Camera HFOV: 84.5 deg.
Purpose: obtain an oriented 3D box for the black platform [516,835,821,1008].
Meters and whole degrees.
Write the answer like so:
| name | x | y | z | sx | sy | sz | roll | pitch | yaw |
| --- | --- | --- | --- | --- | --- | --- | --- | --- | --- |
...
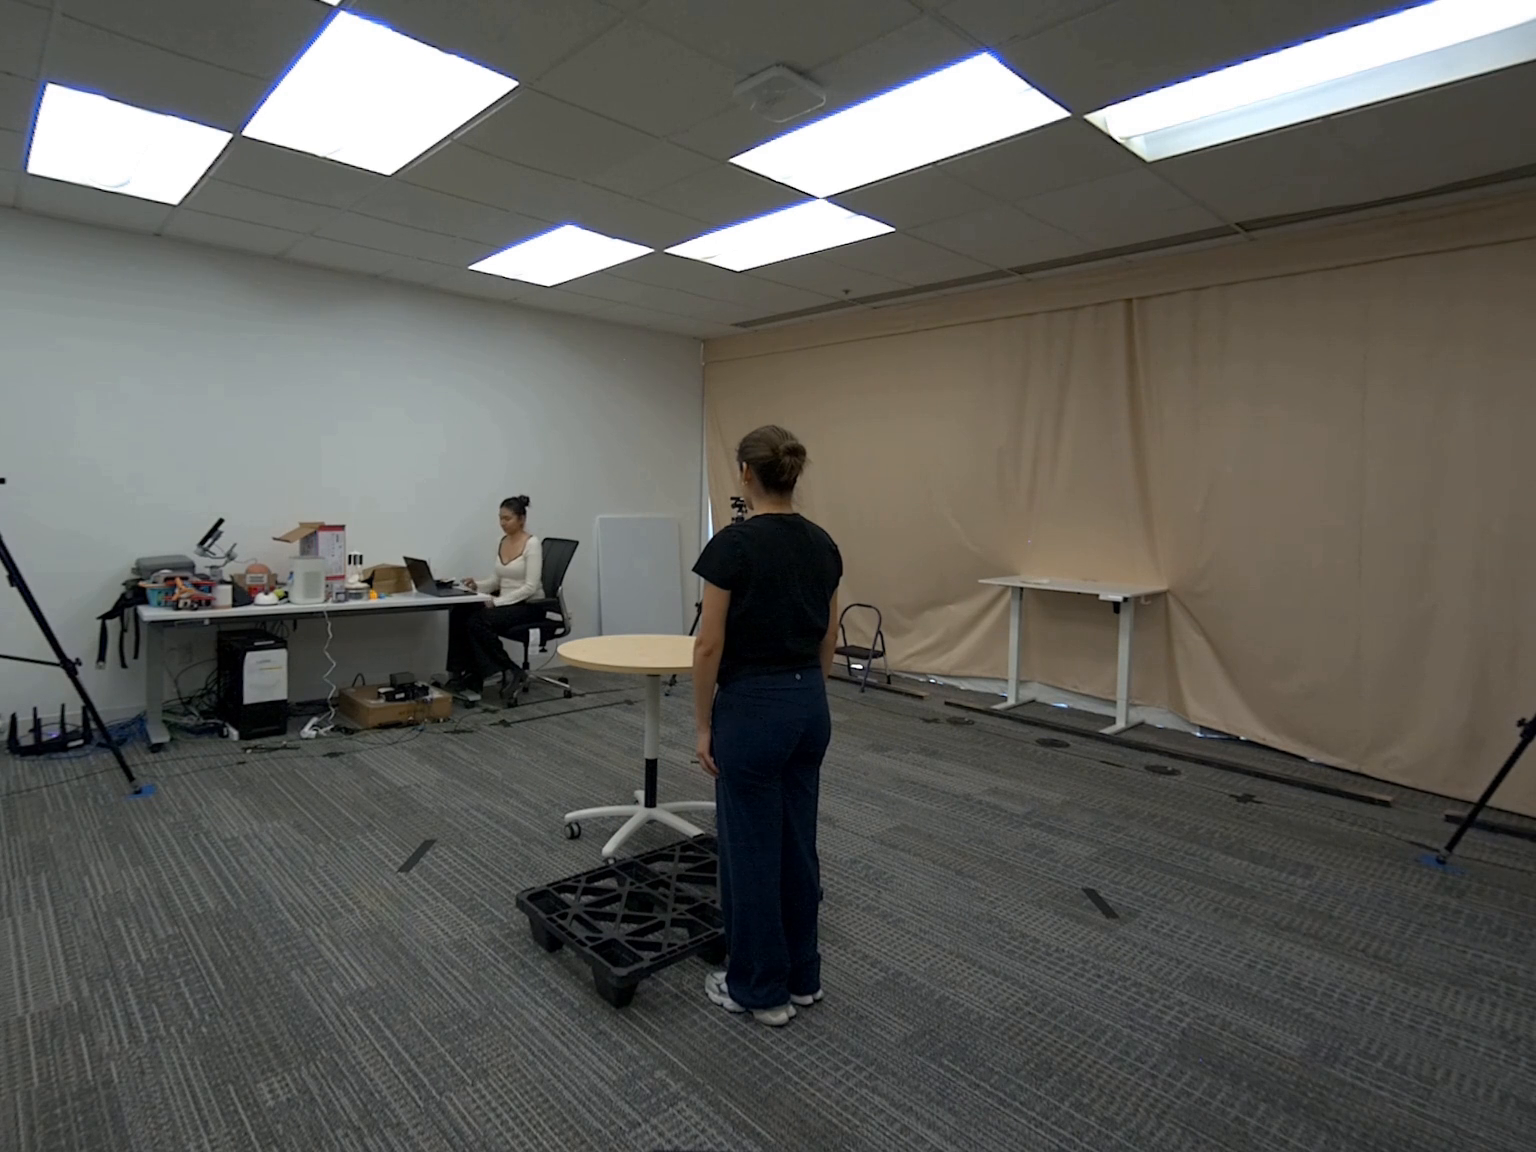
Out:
| name | x | y | z | sx | sy | sz | roll | pitch | yaw |
| --- | --- | --- | --- | --- | --- | --- | --- | --- | --- |
| black platform | -0.306 | 1.078 | 2.679 | 0.787 | 0.143 | 0.621 | -4 | 8 | -43 |
